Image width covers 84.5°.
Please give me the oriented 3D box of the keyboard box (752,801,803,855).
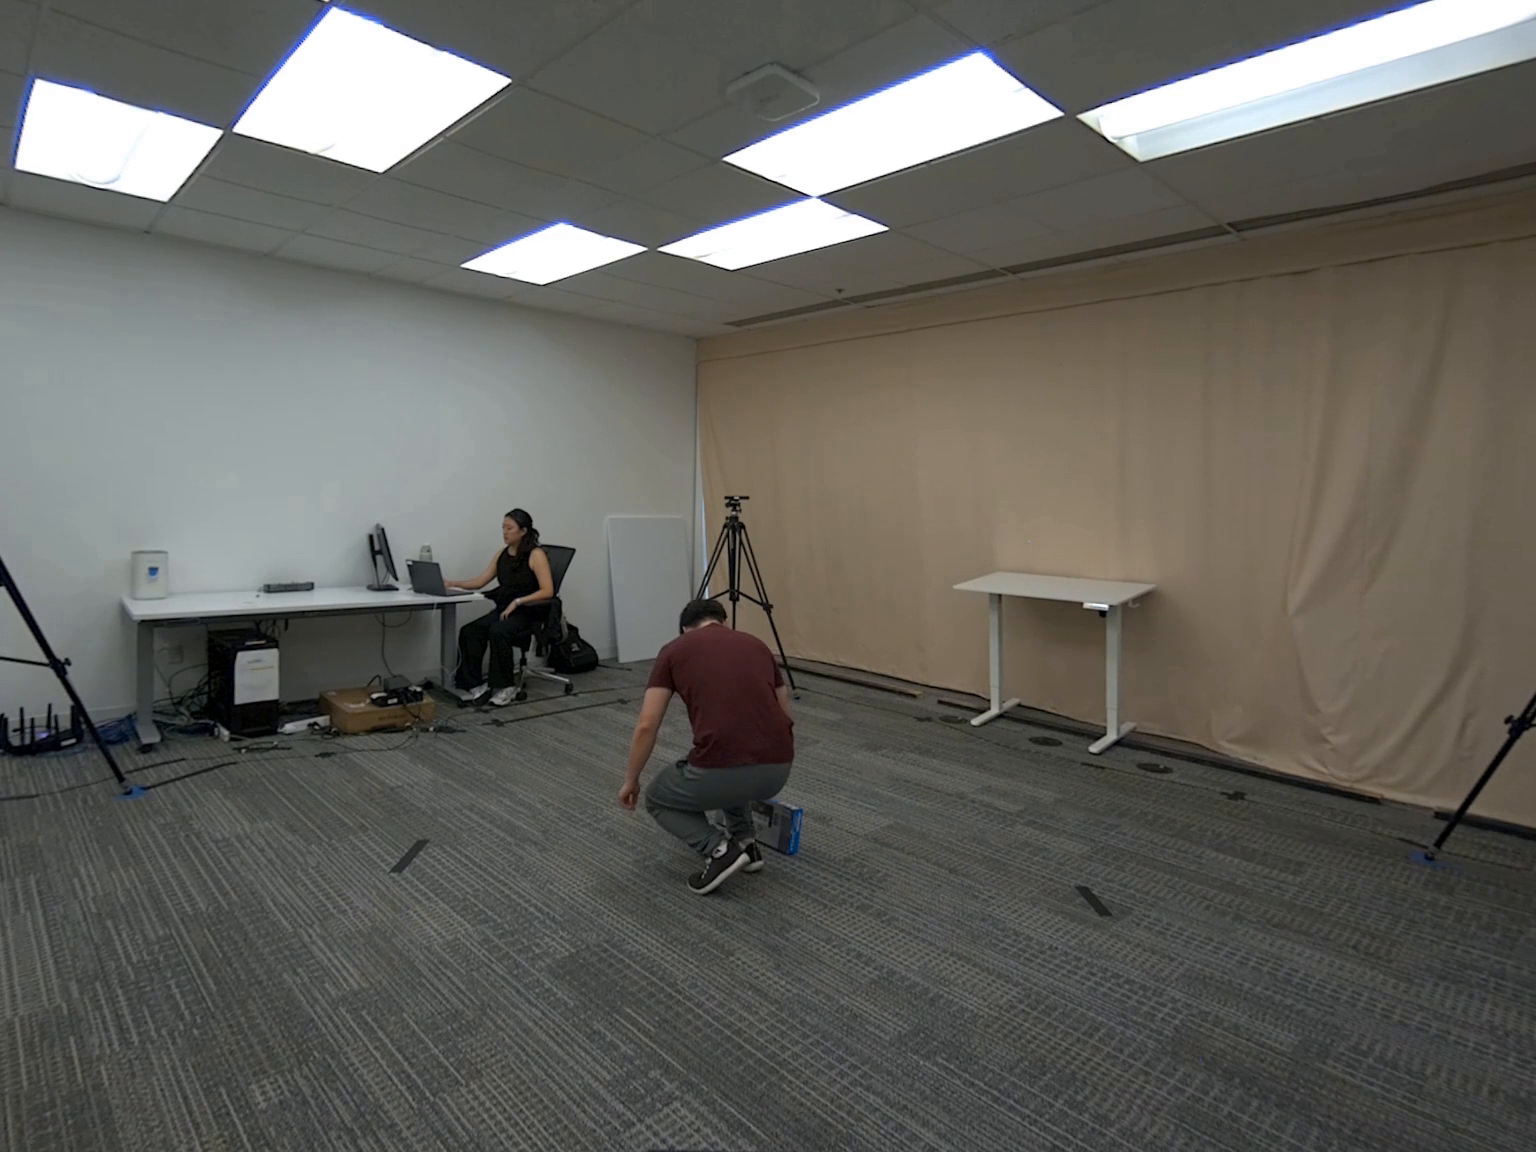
[{"bbox_3d":[-0.051,0.989,3.465,0.057,0.176,0.448,11,-3,-43],"label":"keyboard box"}]
